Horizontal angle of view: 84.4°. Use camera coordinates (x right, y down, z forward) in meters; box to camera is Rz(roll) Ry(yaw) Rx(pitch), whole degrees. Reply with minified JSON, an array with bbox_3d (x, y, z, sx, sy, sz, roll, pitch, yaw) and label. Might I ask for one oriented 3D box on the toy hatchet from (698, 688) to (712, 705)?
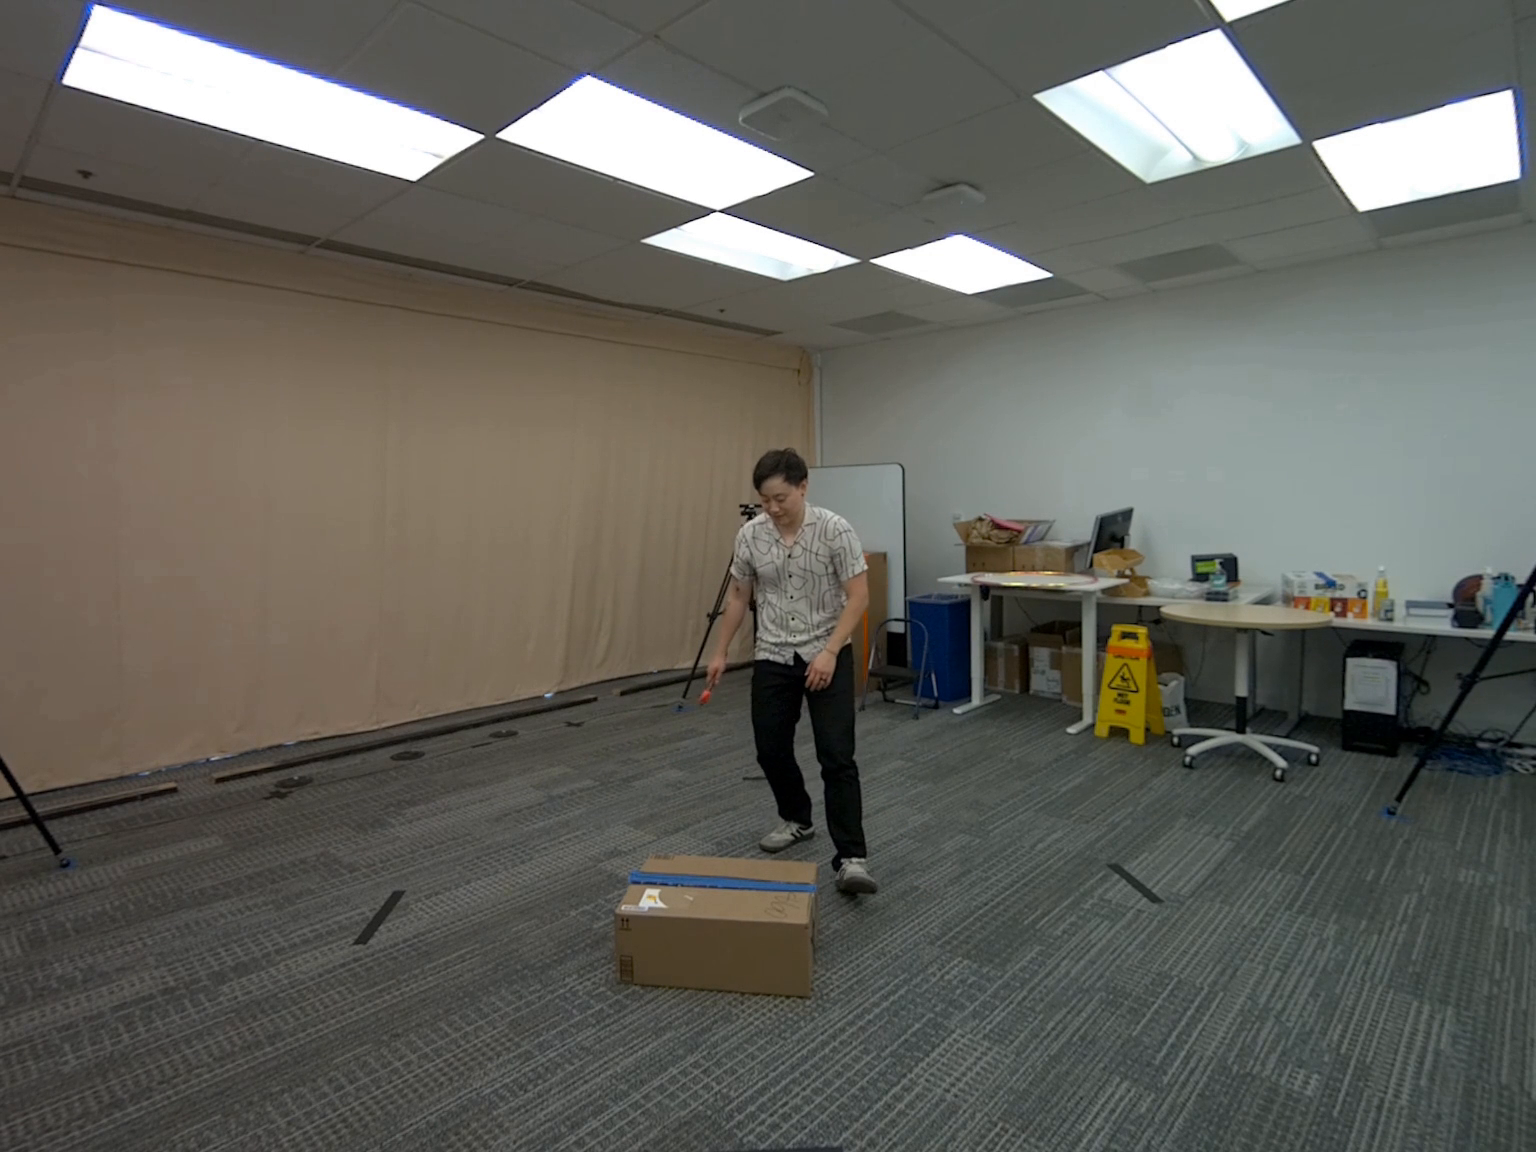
[{"bbox_3d":[-0.224,0.433,3.442,0.029,0.131,0.270,29,37,-3],"label":"toy hatchet"}]
